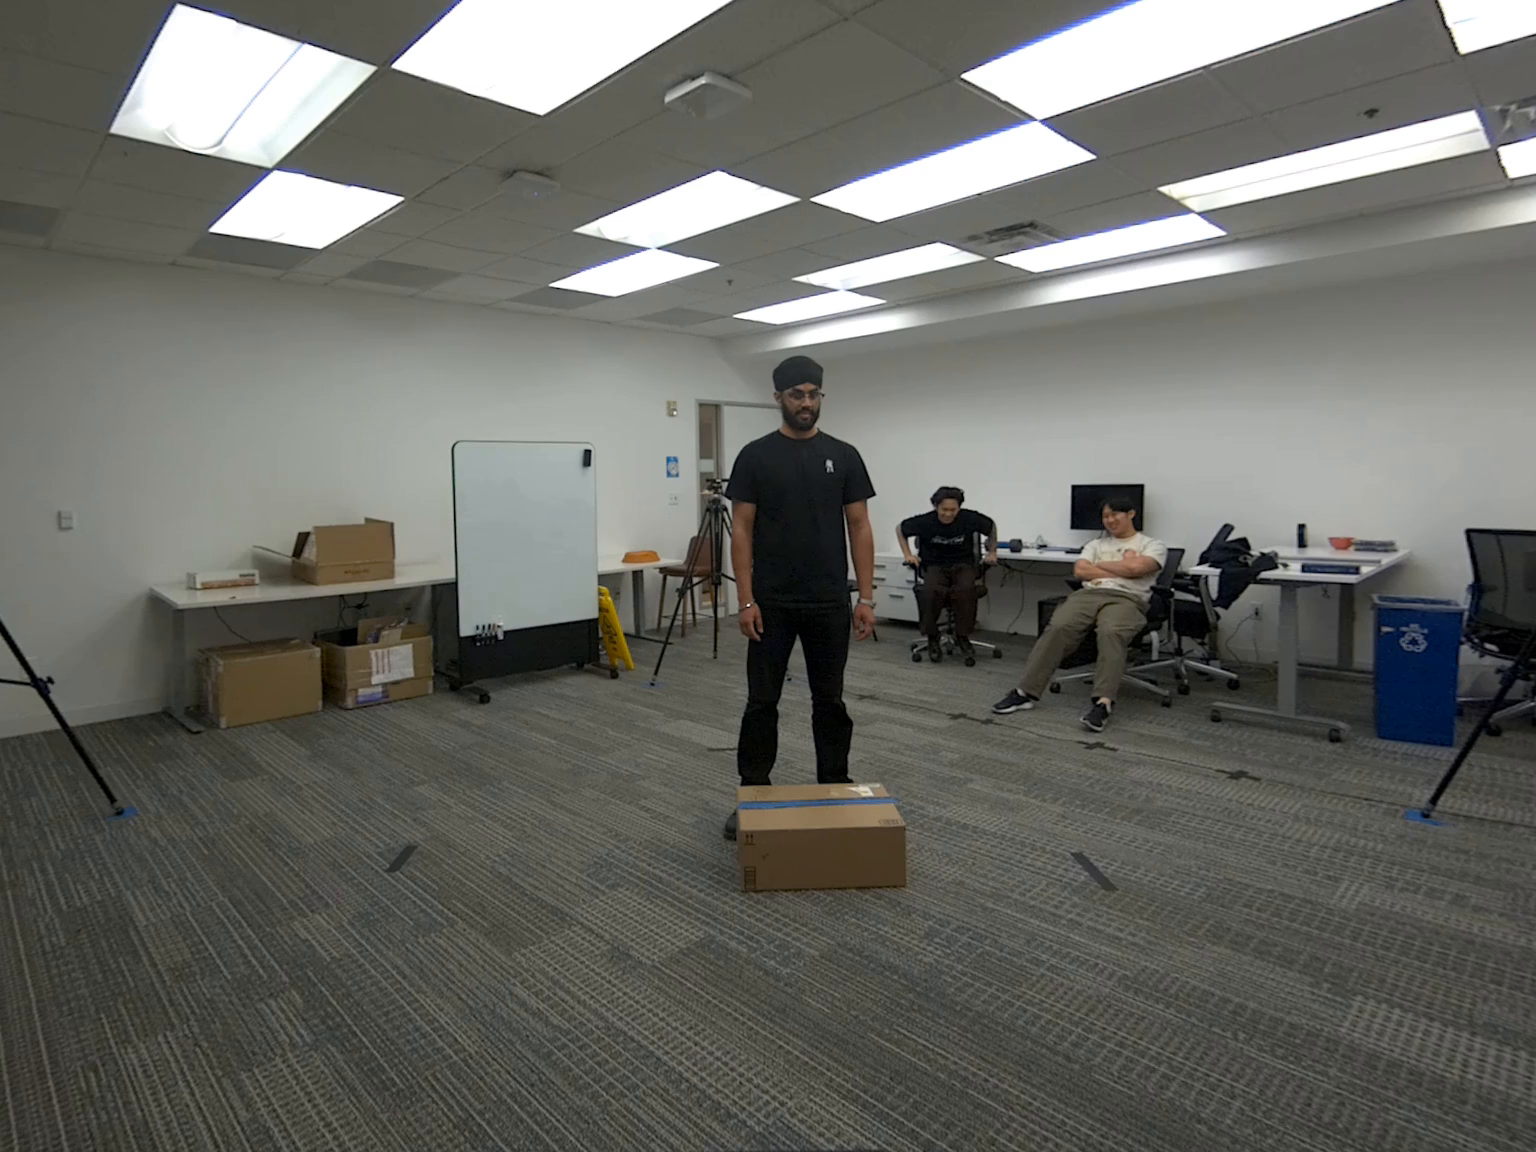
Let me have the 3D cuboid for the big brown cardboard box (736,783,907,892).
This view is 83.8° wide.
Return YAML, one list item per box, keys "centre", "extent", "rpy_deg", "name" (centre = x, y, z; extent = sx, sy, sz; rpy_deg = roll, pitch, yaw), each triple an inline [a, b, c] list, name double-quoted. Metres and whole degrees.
- centre: [0.194, 0.957, 3.090]
  extent: [0.591, 0.232, 0.418]
  rpy_deg: [-2, 6, 4]
  name: "big brown cardboard box"
